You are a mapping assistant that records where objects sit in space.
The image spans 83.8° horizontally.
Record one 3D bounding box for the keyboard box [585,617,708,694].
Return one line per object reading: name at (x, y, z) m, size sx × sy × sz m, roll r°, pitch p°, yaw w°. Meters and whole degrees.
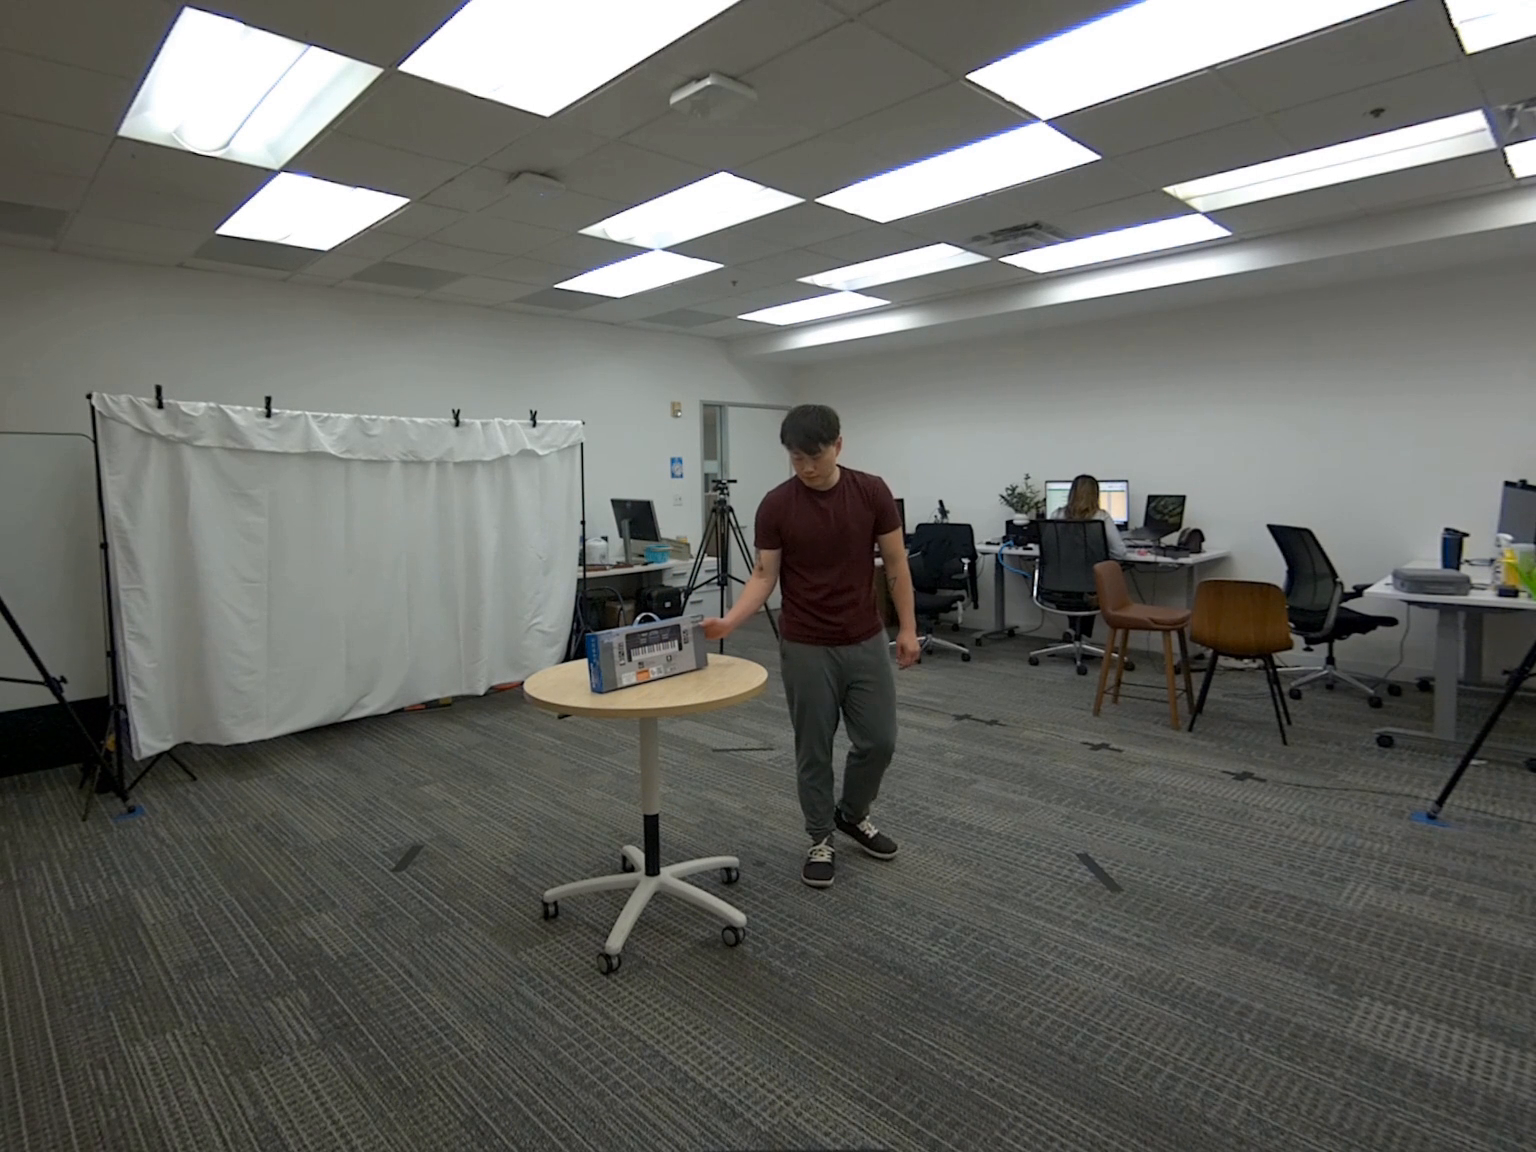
keyboard box at (-0.365, 0.236, 2.663) m, size 0.060 × 0.176 × 0.426 m, roll -6°, pitch 1°, yaw 43°
